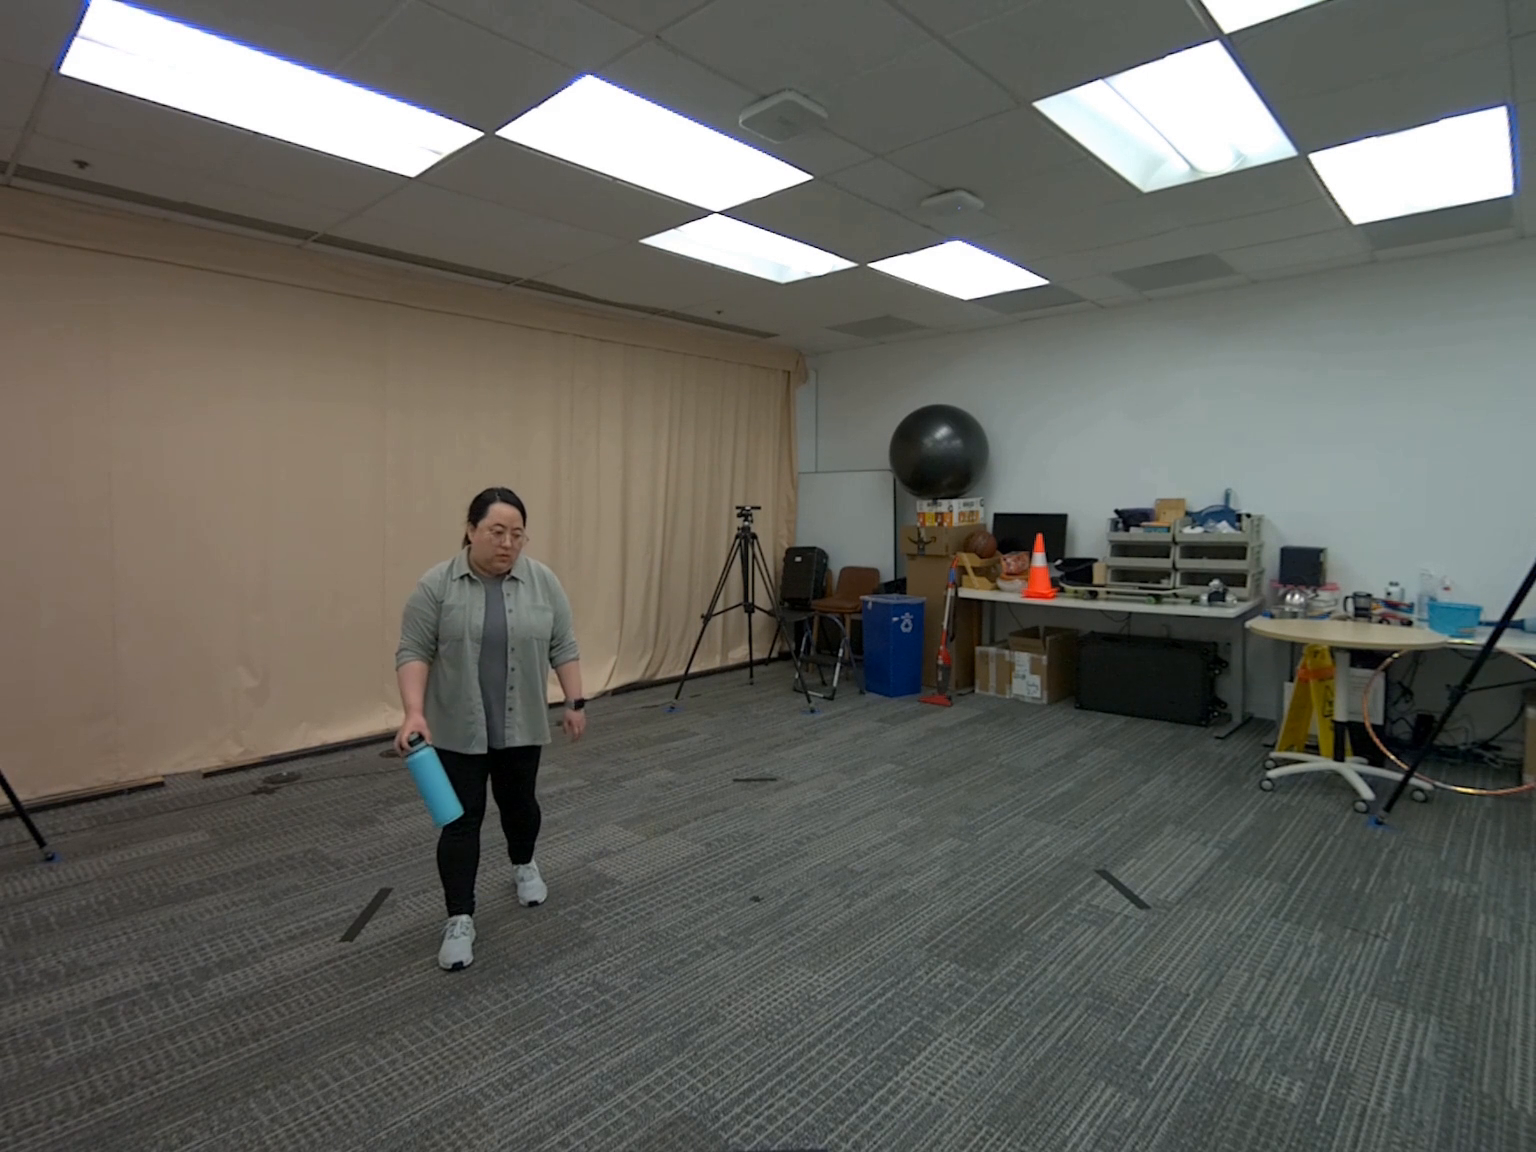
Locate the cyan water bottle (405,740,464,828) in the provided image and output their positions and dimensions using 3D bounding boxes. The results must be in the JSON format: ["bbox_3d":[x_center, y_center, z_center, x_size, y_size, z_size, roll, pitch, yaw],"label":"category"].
[{"bbox_3d":[-1.000,0.591,2.528,0.092,0.284,0.092,-20,-2,-2],"label":"cyan water bottle"}]
